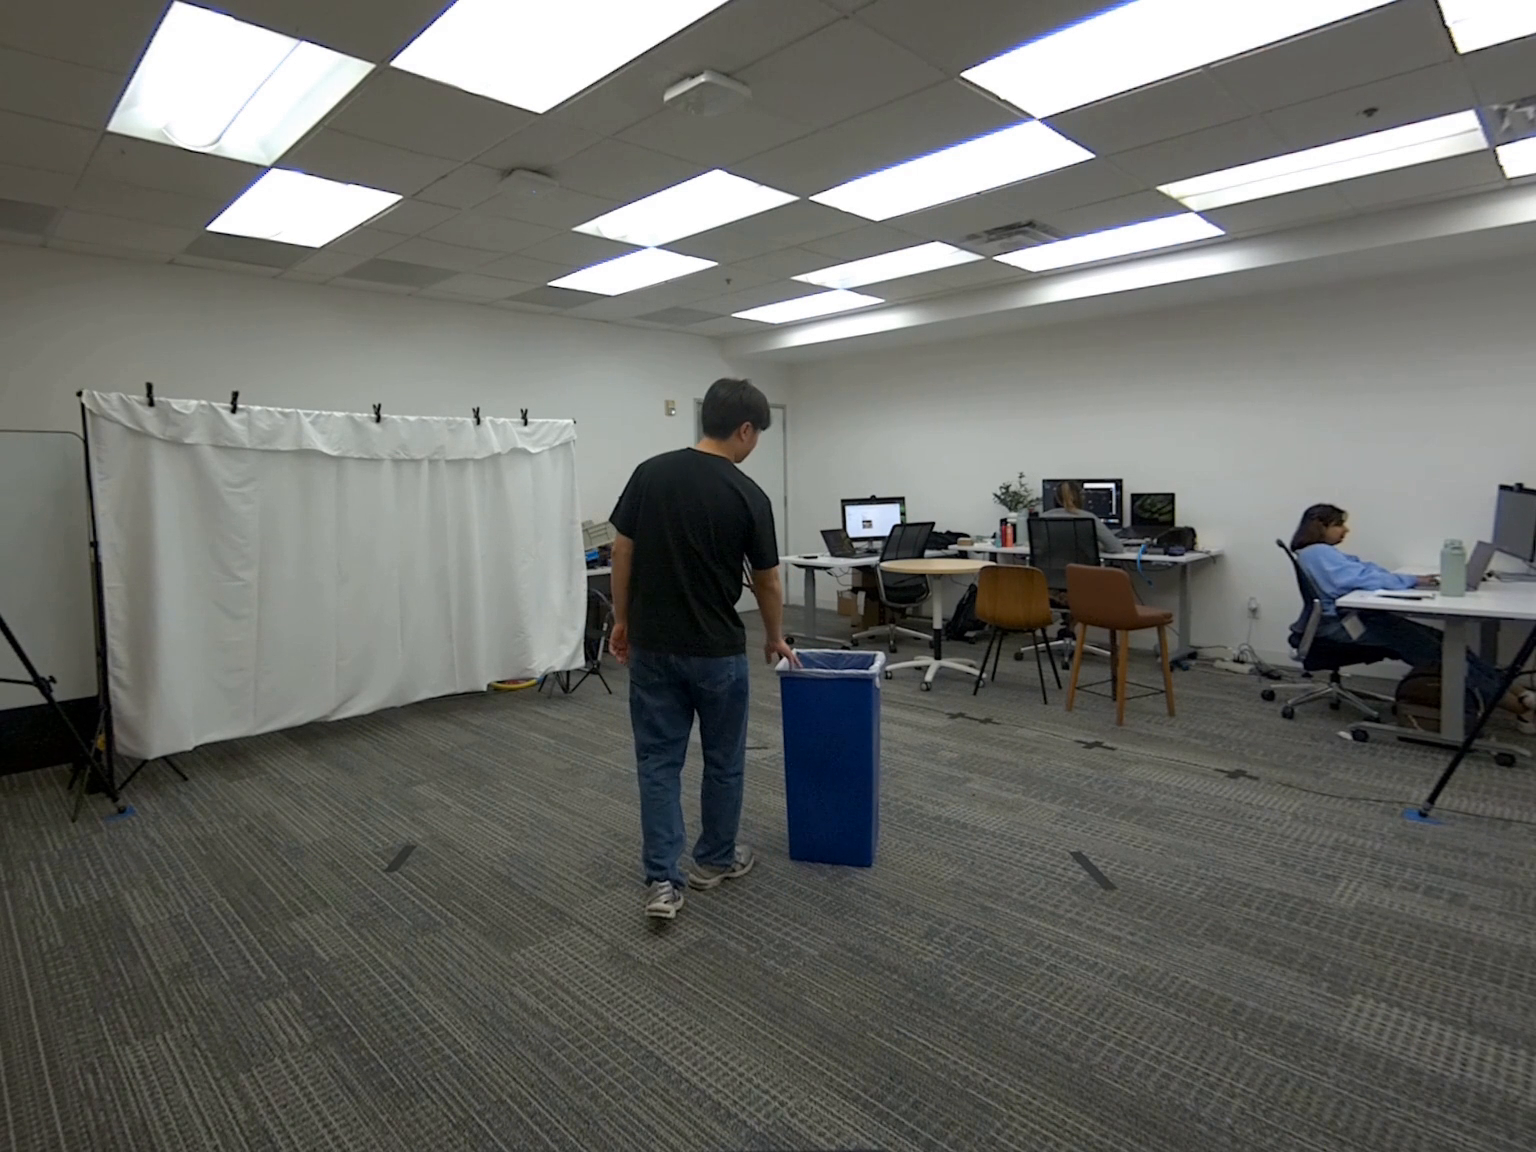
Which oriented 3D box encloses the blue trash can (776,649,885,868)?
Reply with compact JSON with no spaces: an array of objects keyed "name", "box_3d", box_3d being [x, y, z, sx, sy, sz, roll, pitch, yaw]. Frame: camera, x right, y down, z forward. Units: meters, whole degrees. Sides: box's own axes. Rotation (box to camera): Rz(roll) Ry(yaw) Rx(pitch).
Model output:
[{"name":"blue trash can","box_3d":[0.254,0.666,3.214,0.379,0.711,0.374,-2,4,13]}]
